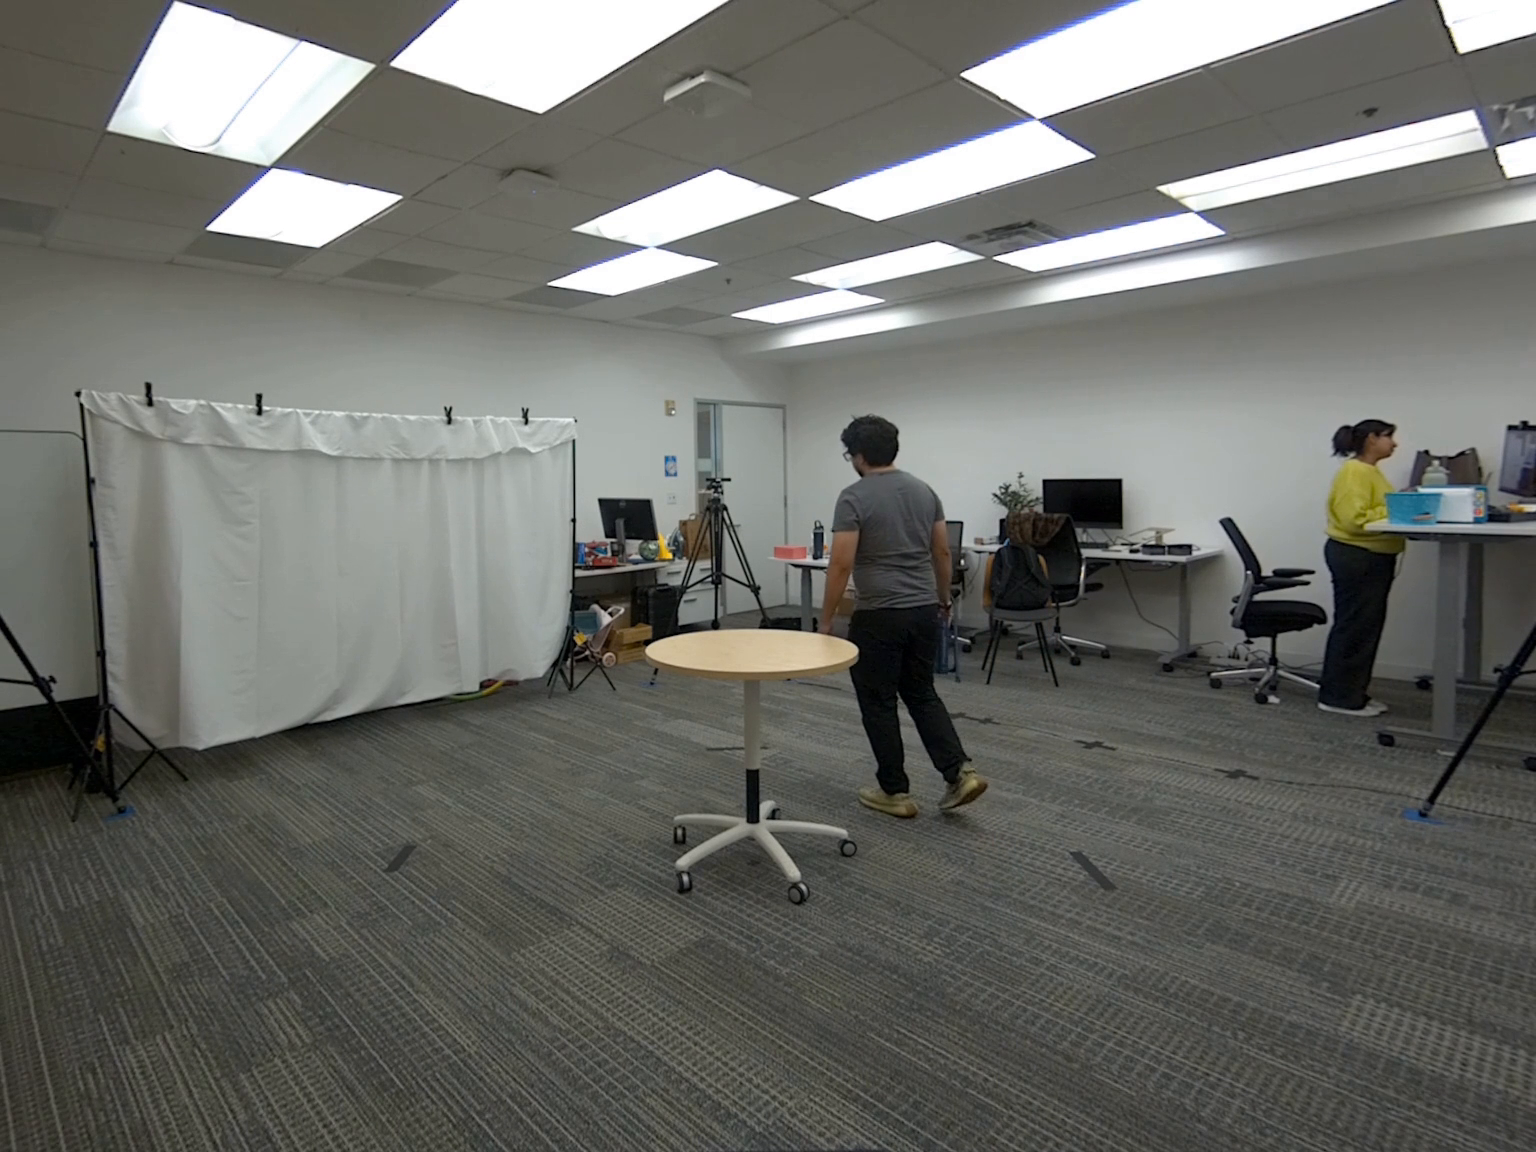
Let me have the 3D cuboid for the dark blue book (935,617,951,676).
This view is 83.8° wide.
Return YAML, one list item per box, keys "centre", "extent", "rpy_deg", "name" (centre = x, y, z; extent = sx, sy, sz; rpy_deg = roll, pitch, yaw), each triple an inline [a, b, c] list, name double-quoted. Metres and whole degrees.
- centre: [0.739, 0.303, 3.763]
  extent: [0.044, 0.246, 0.165]
  rpy_deg: [3, -2, -13]
  name: "dark blue book"
